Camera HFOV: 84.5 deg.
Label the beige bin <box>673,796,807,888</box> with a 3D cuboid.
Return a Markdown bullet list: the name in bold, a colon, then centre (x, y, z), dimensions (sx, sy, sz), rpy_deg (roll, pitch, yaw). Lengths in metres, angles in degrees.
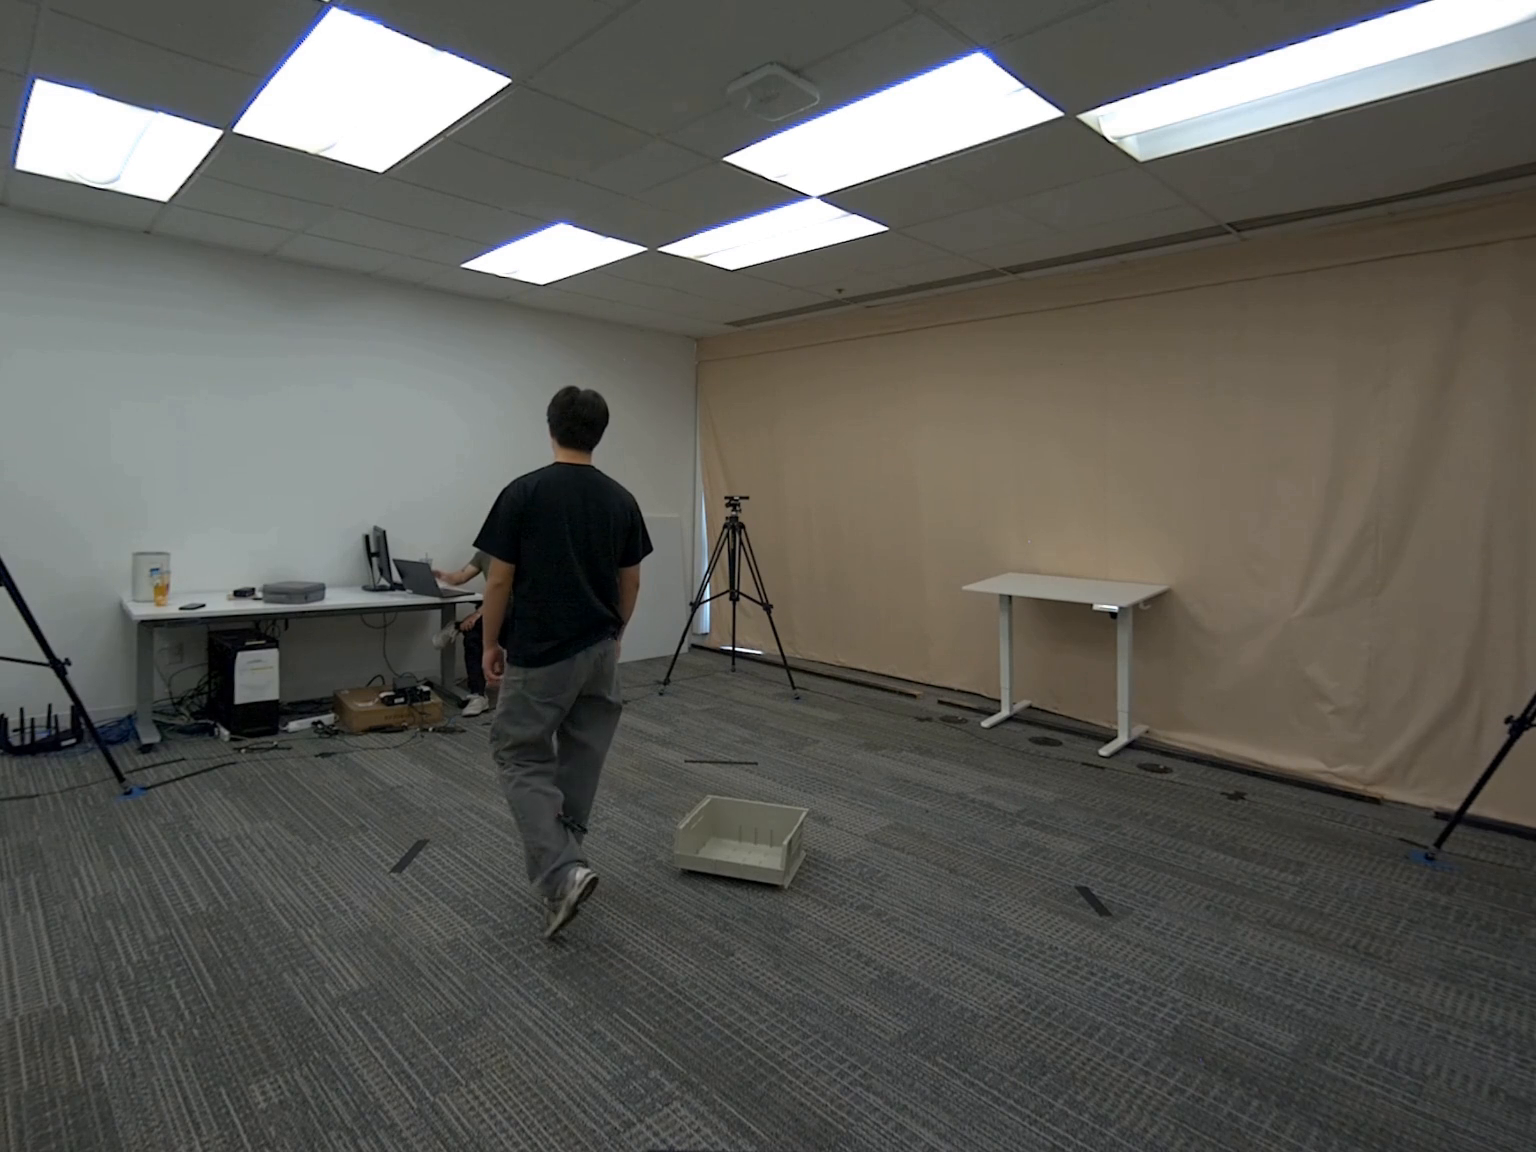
- **beige bin**: centre (-0.098, 1.008, 3.187), dimensions (0.428, 0.188, 0.373), rpy_deg (2, 4, 16)
